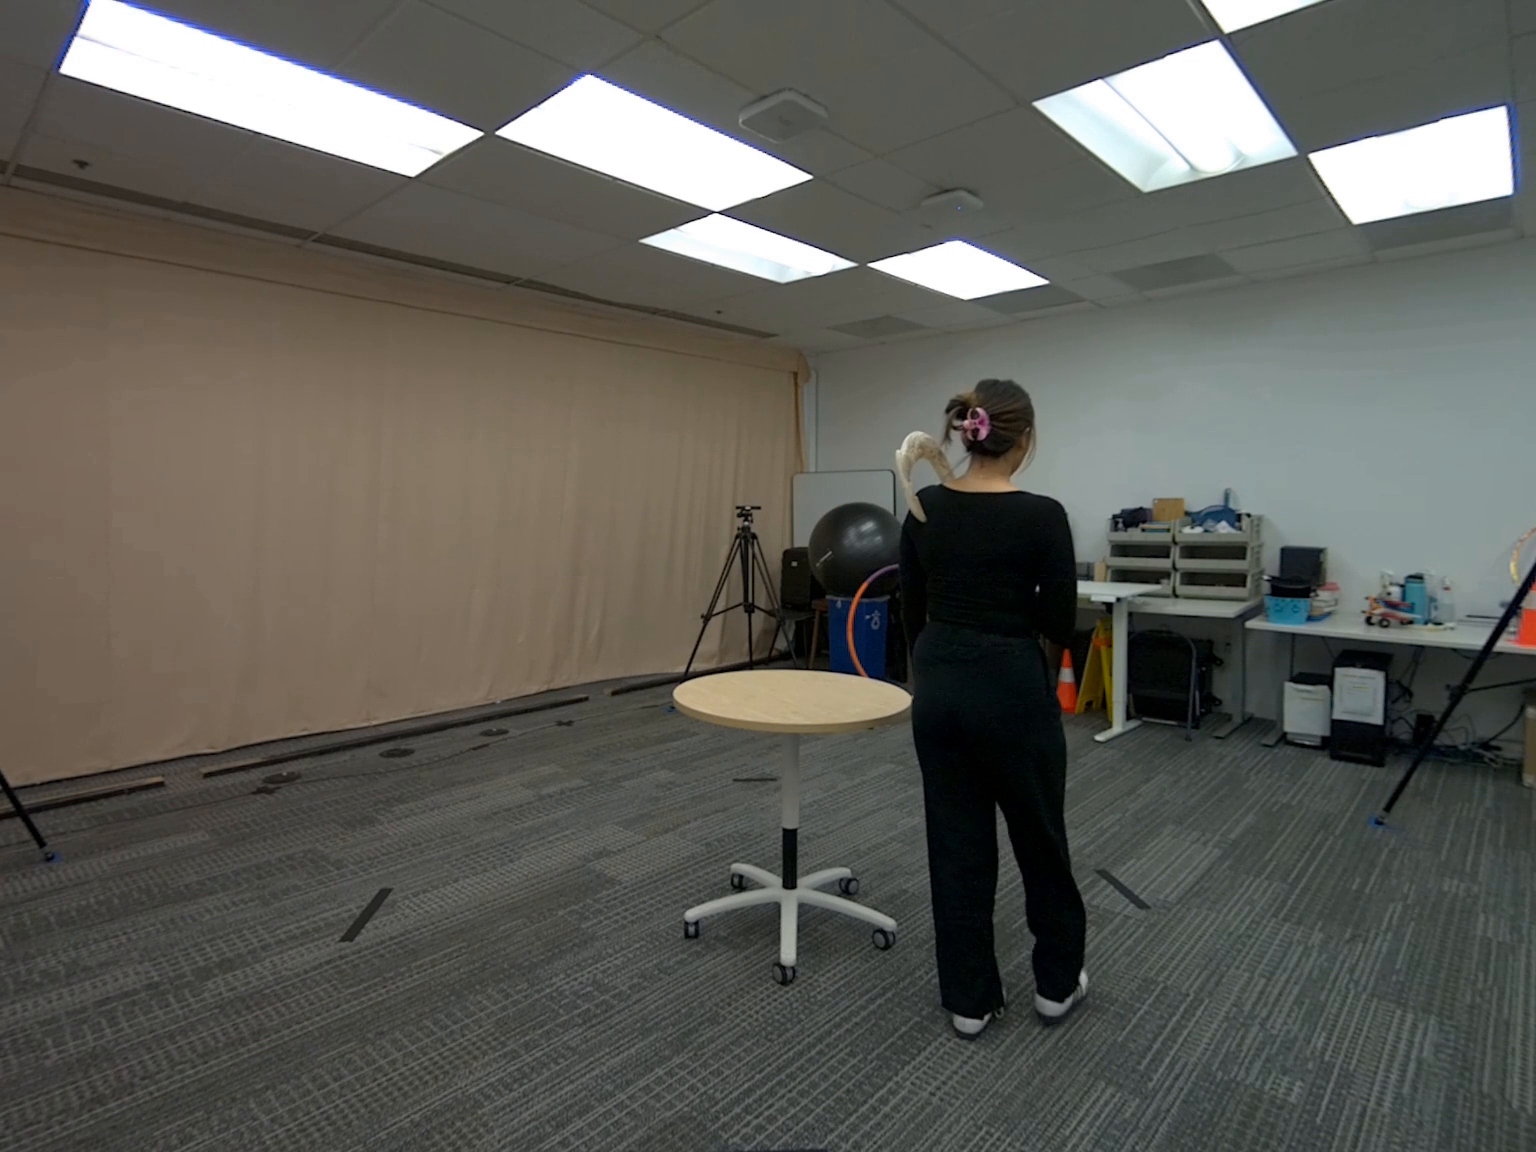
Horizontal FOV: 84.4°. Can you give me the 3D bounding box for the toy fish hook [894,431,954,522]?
[{"bbox_3d":[0.503,-0.156,2.259,0.049,0.496,0.223,-10,32,53],"label":"toy fish hook"}]
